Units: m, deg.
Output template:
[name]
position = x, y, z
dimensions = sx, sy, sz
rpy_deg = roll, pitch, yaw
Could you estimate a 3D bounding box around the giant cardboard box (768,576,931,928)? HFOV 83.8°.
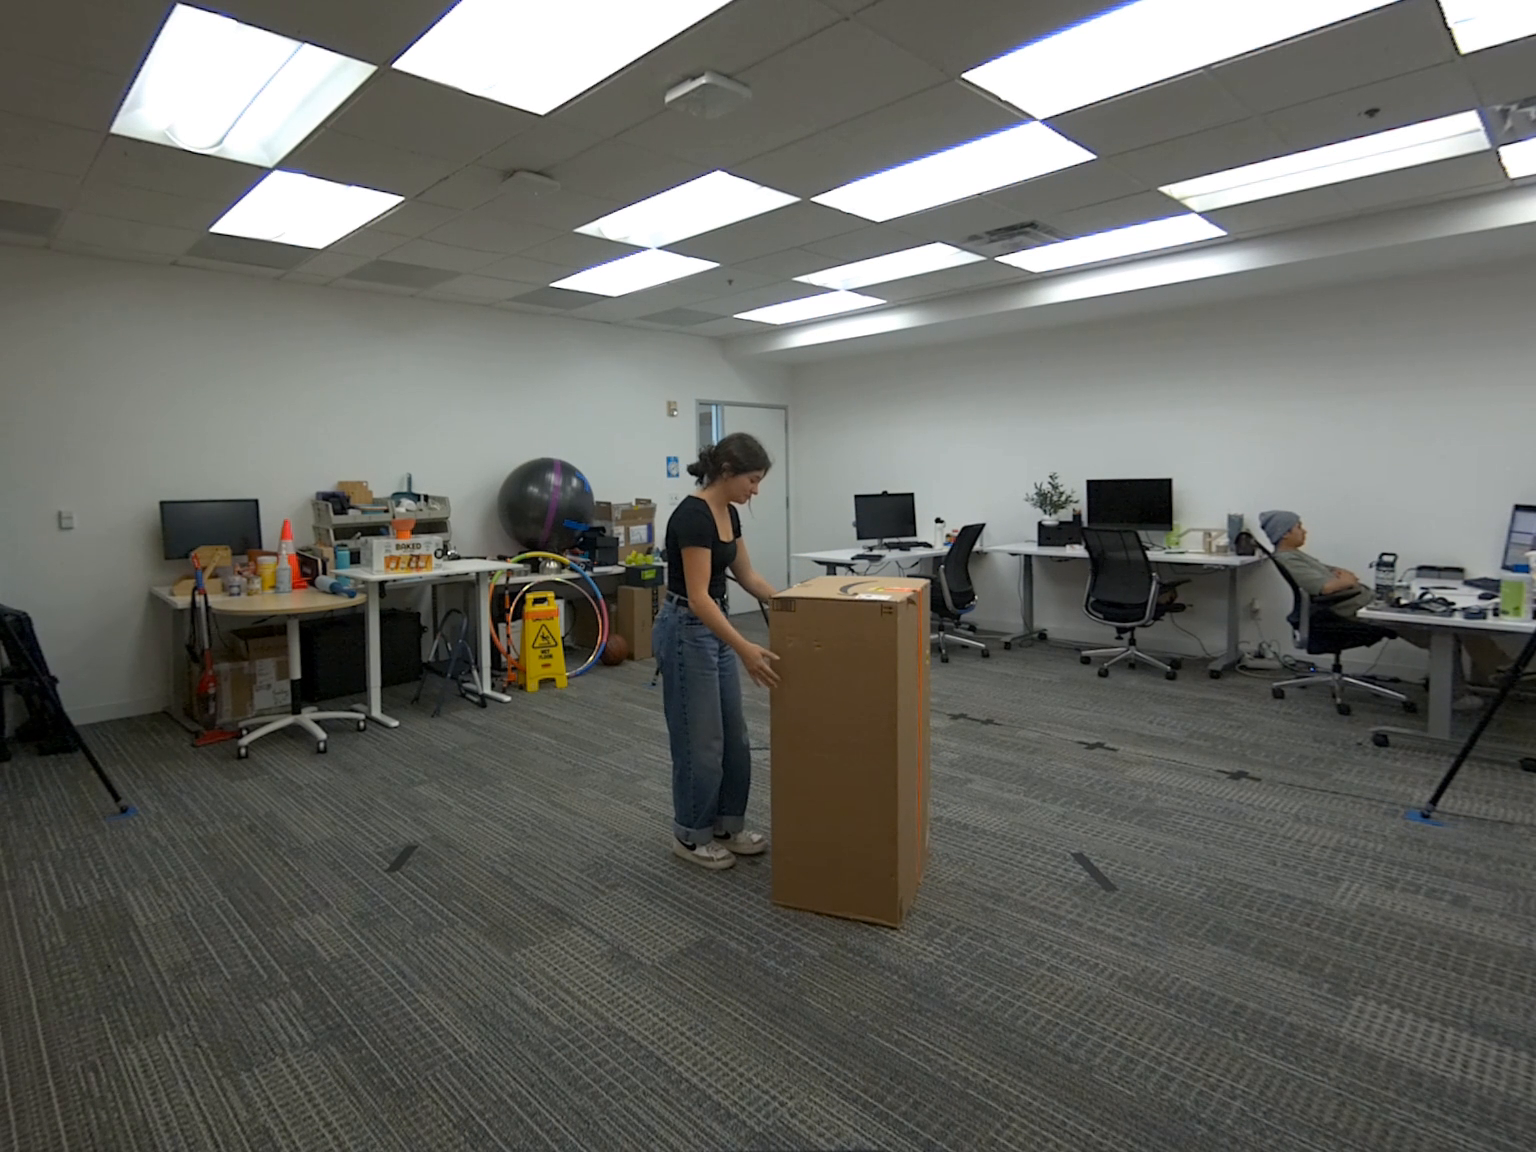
[giant cardboard box]
position = 0.302, 0.547, 2.941
dimensions = 0.435, 1.022, 0.568
rpy_deg = 1, 4, 22
